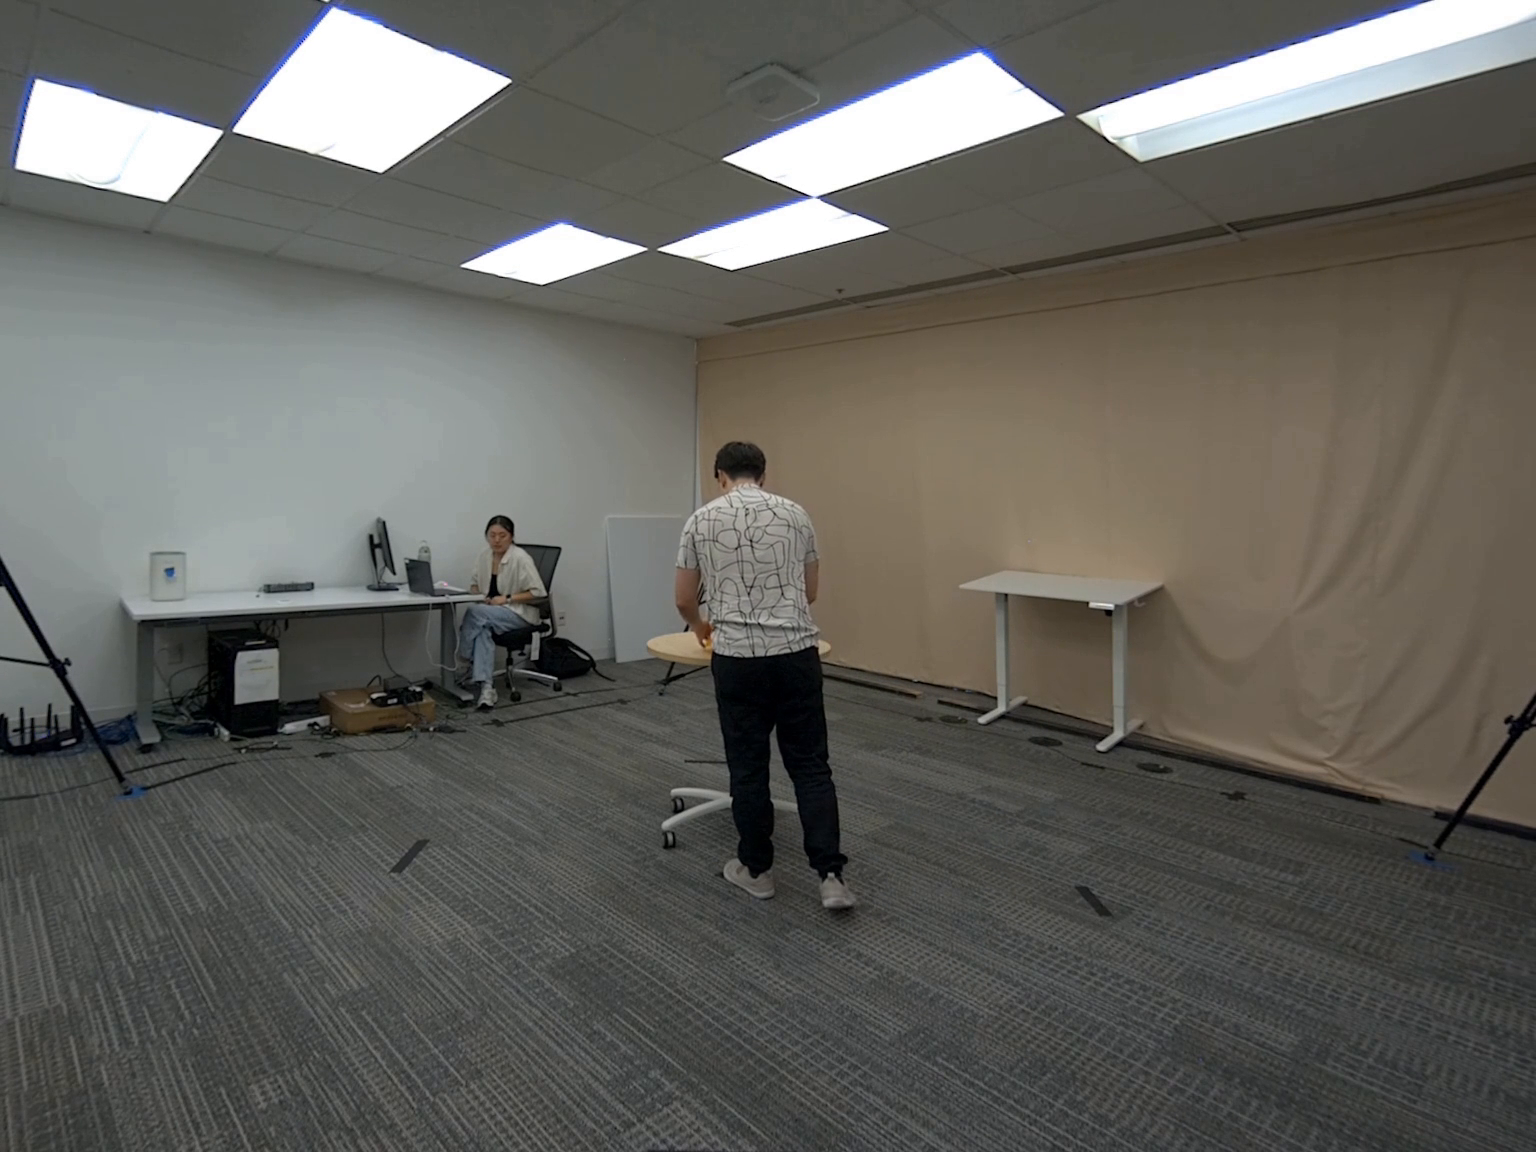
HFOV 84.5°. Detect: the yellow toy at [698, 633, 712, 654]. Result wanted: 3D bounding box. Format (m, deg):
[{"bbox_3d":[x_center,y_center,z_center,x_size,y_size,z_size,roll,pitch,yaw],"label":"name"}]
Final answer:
[{"bbox_3d":[-0.132,0.210,3.290,0.204,0.191,0.234,3,16,-4],"label":"yellow toy"}]
